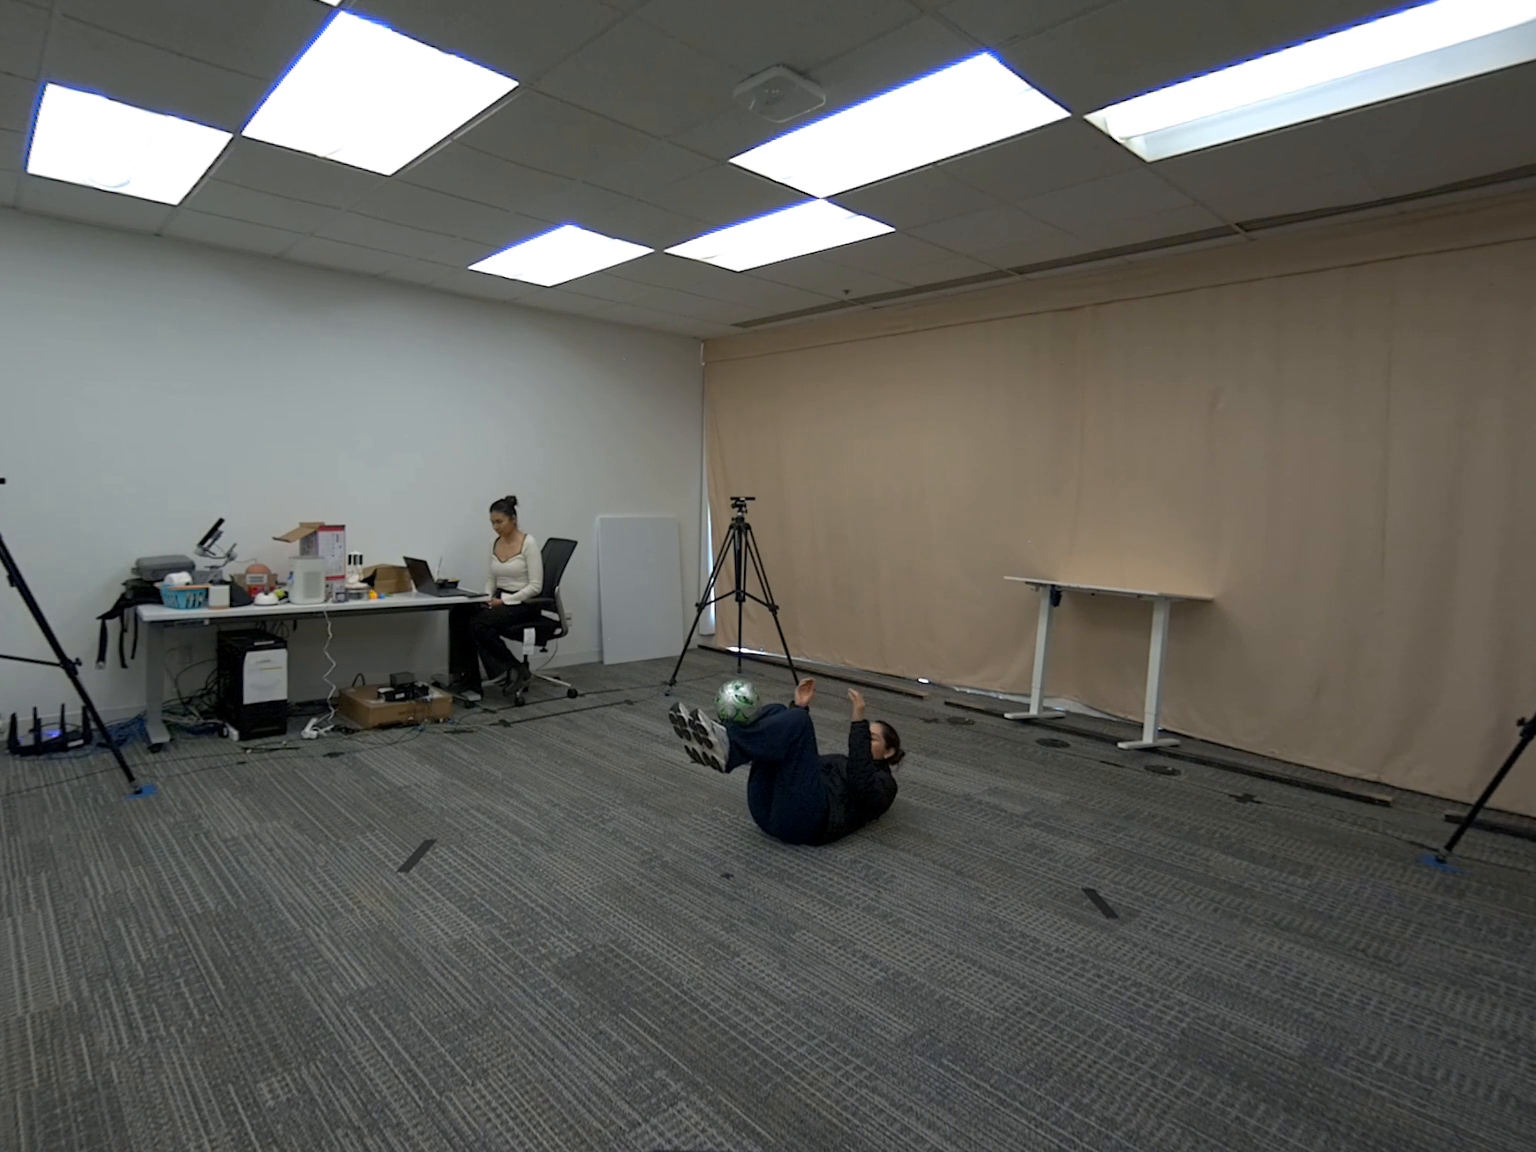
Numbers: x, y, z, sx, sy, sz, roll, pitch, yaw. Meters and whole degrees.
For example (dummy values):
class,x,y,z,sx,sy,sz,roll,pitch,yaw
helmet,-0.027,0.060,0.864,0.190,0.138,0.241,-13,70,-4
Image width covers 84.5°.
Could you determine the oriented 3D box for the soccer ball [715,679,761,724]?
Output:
class,x,y,z,sx,sy,sz,roll,pitch,yaw
soccer ball,-0.128,0.503,3.295,0.187,0.186,0.188,0,7,-1
